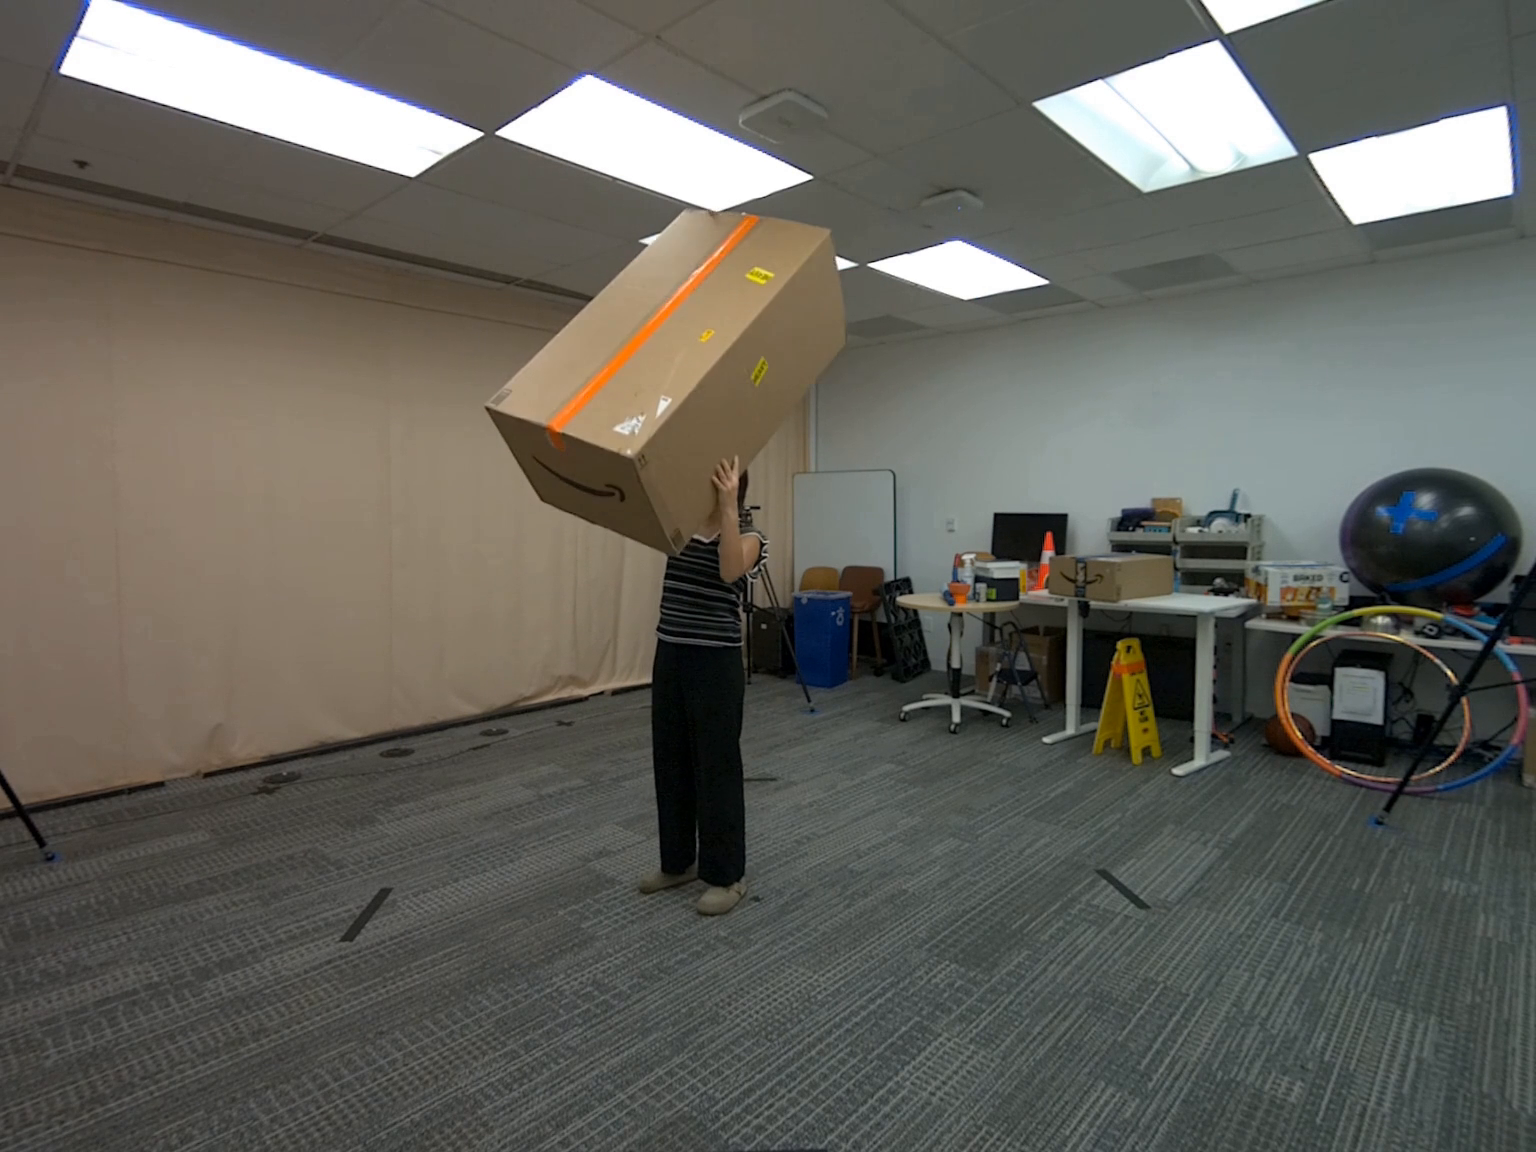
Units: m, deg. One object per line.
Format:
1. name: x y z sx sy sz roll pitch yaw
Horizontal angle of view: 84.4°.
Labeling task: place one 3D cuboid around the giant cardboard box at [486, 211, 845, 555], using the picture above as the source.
1. giant cardboard box: -0.280 -0.642 2.651 0.596 1.022 0.414 22 -28 29
